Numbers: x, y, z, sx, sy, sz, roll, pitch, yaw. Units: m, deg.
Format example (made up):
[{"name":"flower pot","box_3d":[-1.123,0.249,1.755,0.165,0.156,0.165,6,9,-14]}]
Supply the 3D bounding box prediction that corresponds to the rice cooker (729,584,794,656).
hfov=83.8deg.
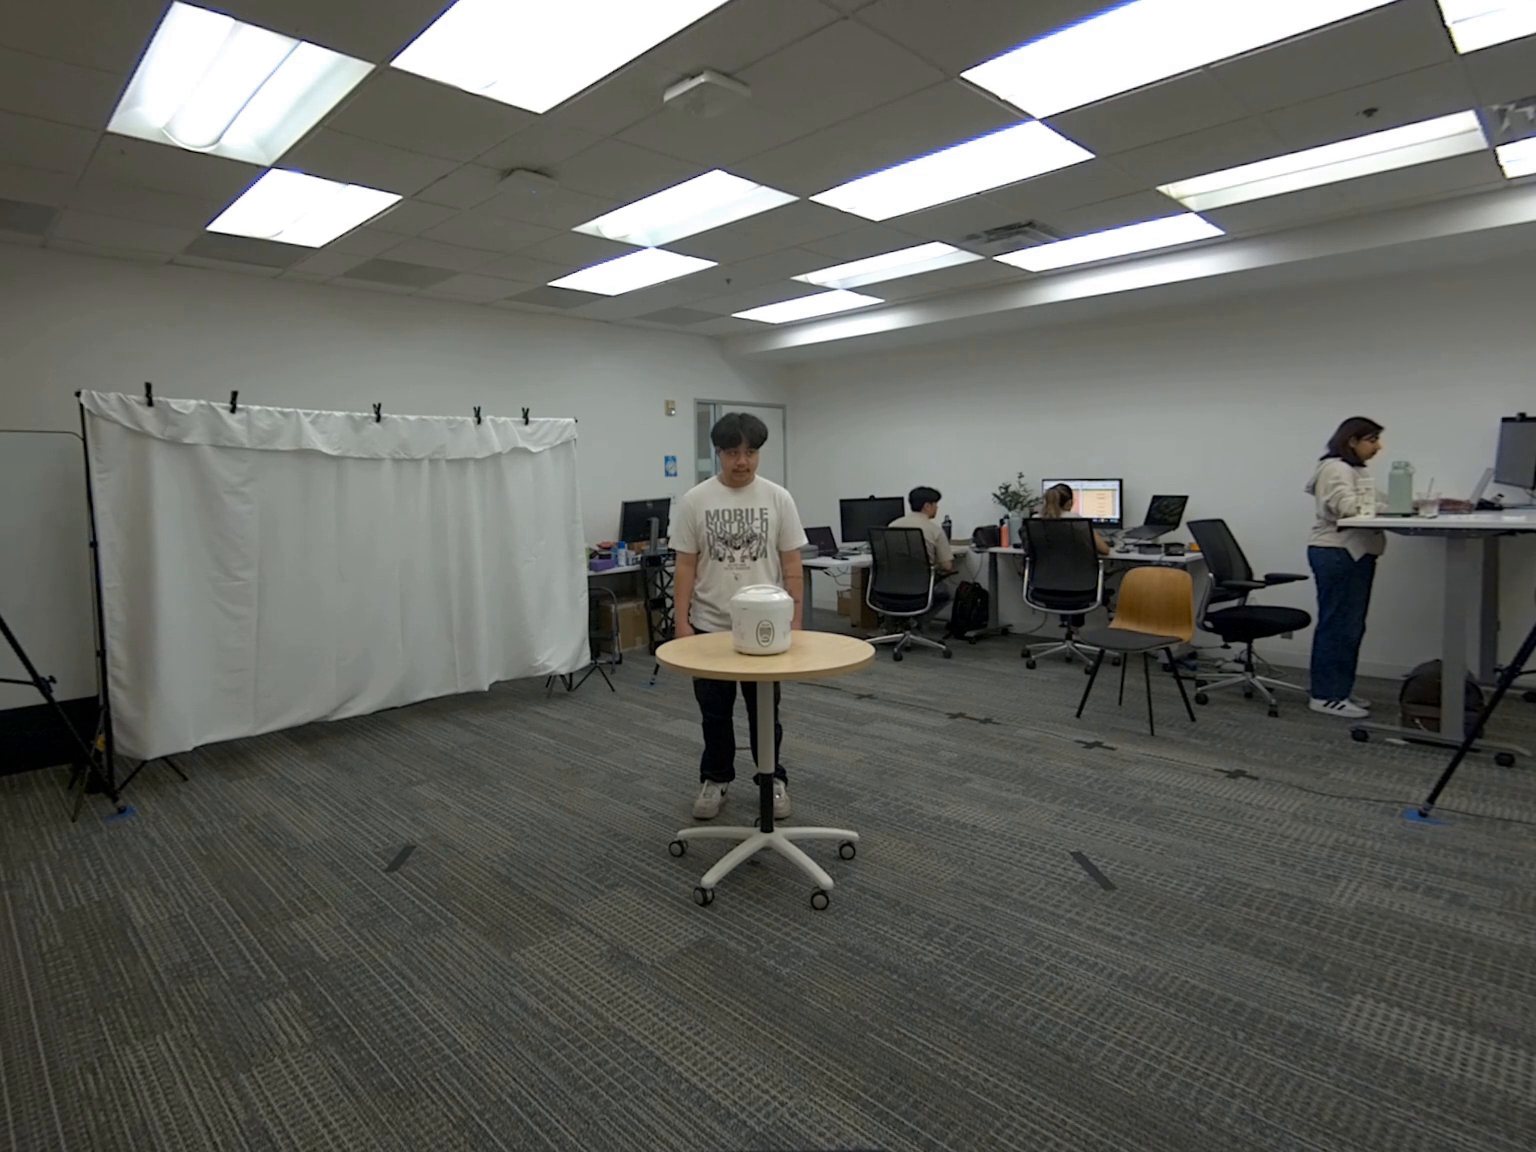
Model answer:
[{"name":"rice cooker","box_3d":[-0.021,0.145,2.960,0.220,0.232,0.219,-2,6,-5]}]
